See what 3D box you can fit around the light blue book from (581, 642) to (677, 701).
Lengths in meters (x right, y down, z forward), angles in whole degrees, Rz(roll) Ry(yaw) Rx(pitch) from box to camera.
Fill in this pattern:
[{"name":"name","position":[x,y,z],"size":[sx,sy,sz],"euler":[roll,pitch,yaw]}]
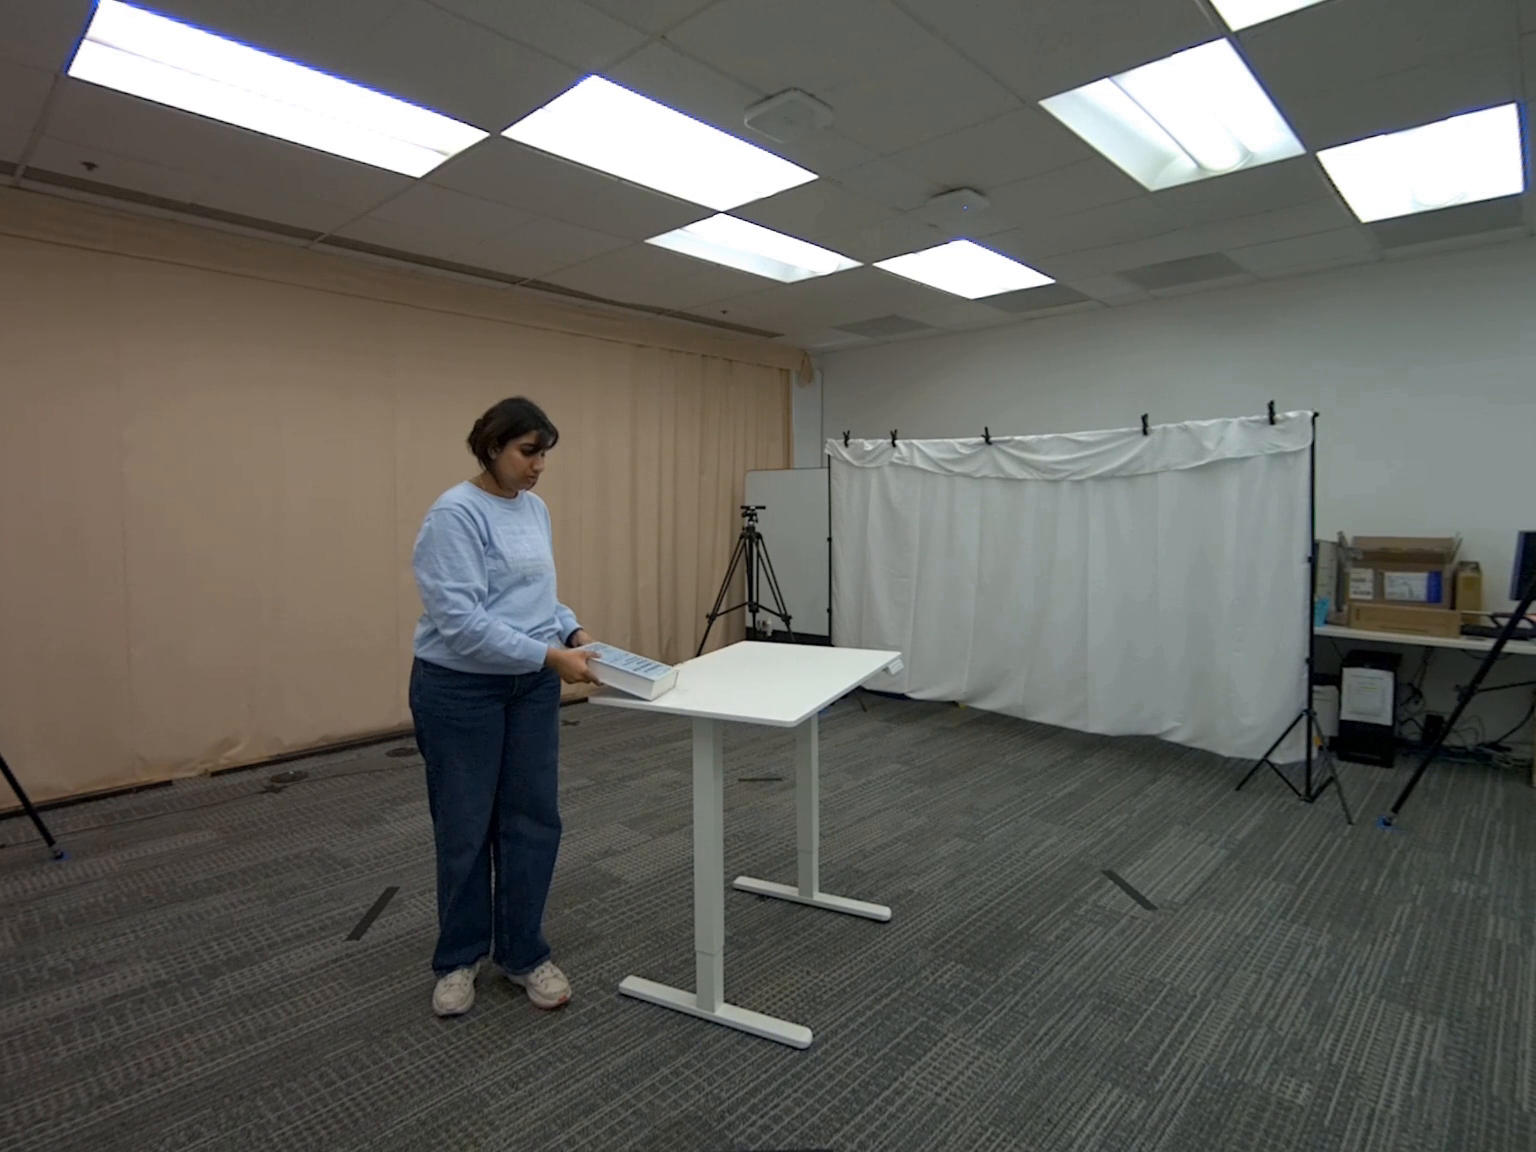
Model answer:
[{"name":"light blue book","position":[-0.384,0.262,2.295],"size":[0.264,0.059,0.189],"euler":[15,4,10]}]
